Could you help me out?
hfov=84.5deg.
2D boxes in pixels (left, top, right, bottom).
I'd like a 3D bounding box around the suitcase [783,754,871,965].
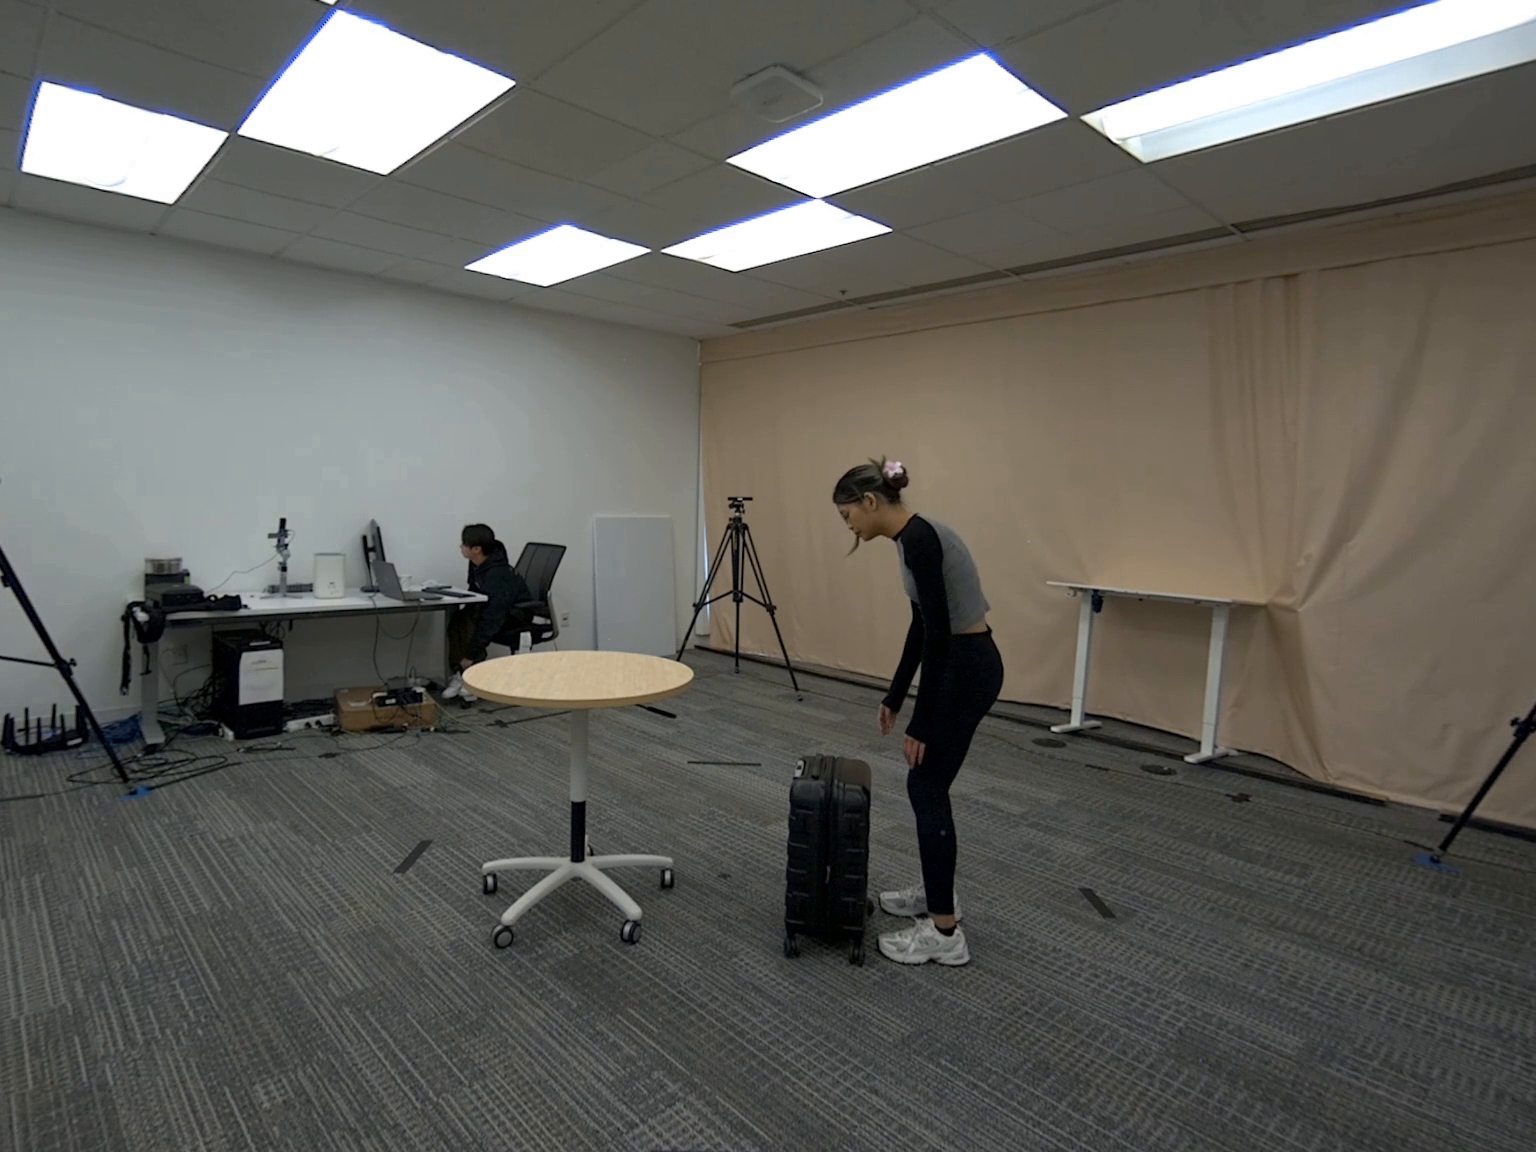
[{"bbox_3d":[0.203,0.879,2.696,0.250,0.548,0.374,2,3,6],"label":"suitcase"}]
